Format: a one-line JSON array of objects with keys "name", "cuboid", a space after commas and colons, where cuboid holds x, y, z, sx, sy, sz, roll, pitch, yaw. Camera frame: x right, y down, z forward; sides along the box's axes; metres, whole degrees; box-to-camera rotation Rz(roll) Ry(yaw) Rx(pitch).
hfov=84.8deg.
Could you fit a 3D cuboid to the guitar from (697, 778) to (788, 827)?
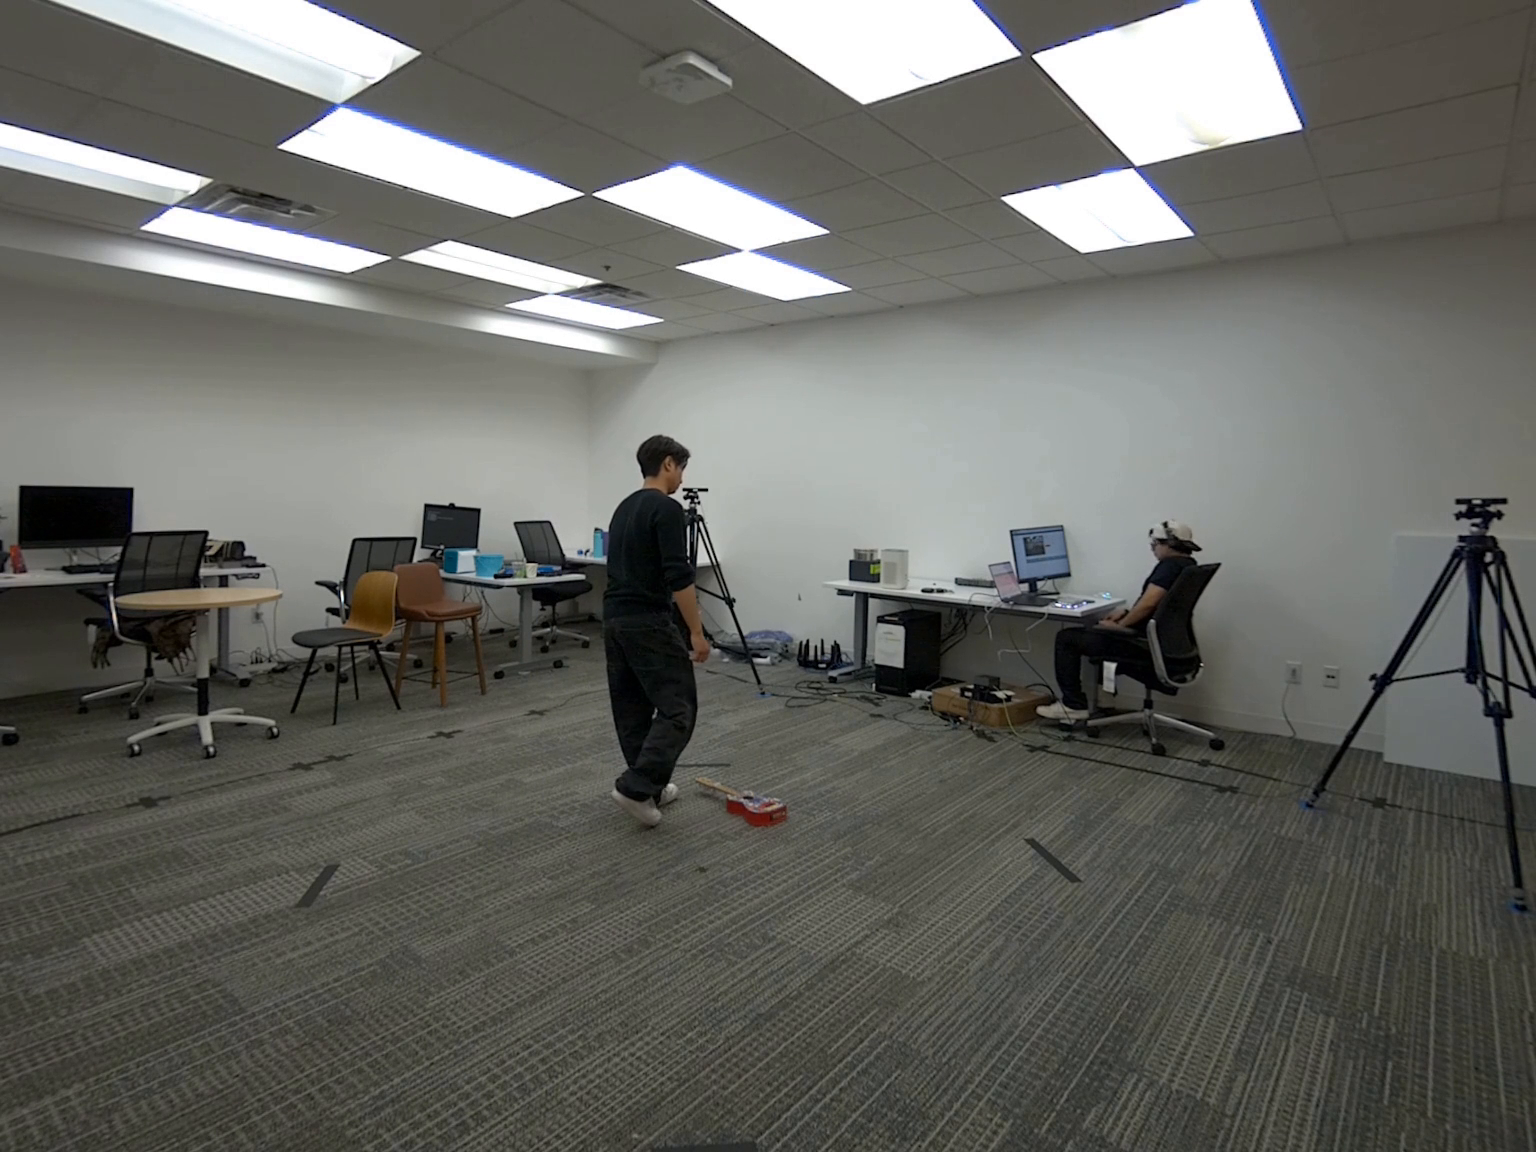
[{"name": "guitar", "cuboid": [-0.130, 0.981, 3.752, 0.187, 0.070, 0.515, -3, 7, -37]}]
